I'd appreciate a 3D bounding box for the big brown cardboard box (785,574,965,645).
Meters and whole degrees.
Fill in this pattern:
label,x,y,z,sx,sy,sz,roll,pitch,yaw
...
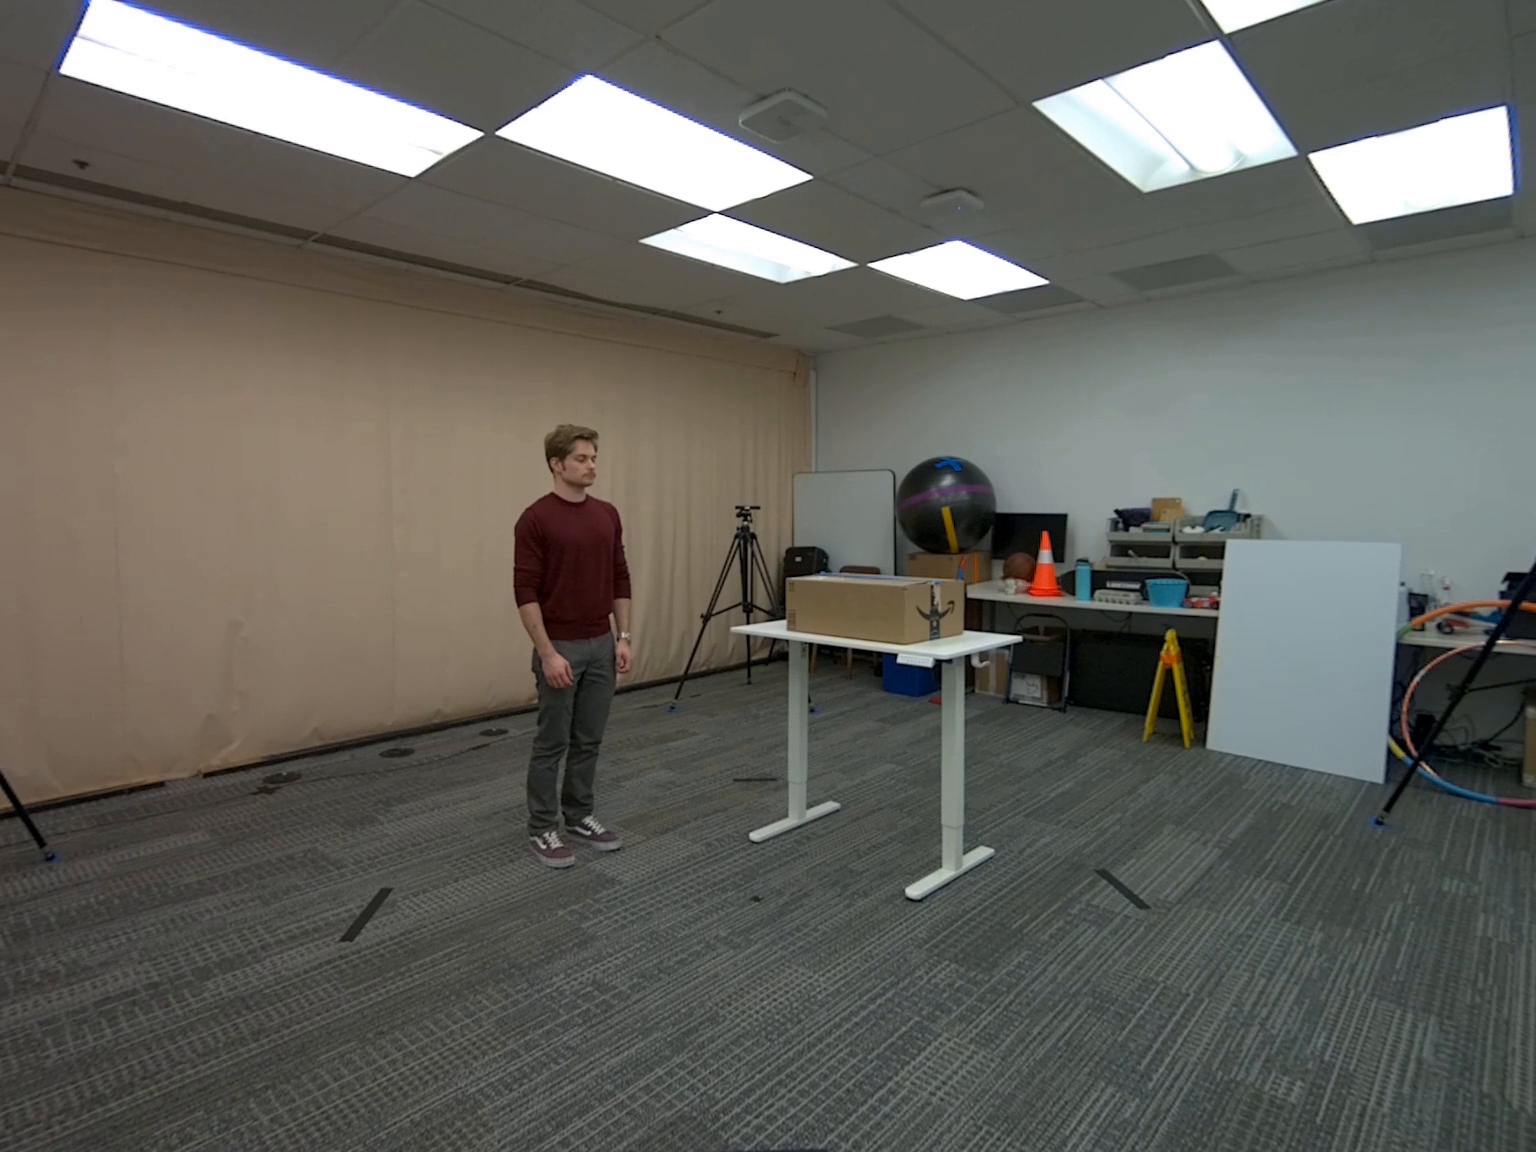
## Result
label,x,y,z,sx,sy,sz,roll,pitch,yaw
big brown cardboard box,0.424,0.120,3.384,0.609,0.232,0.405,5,6,43
